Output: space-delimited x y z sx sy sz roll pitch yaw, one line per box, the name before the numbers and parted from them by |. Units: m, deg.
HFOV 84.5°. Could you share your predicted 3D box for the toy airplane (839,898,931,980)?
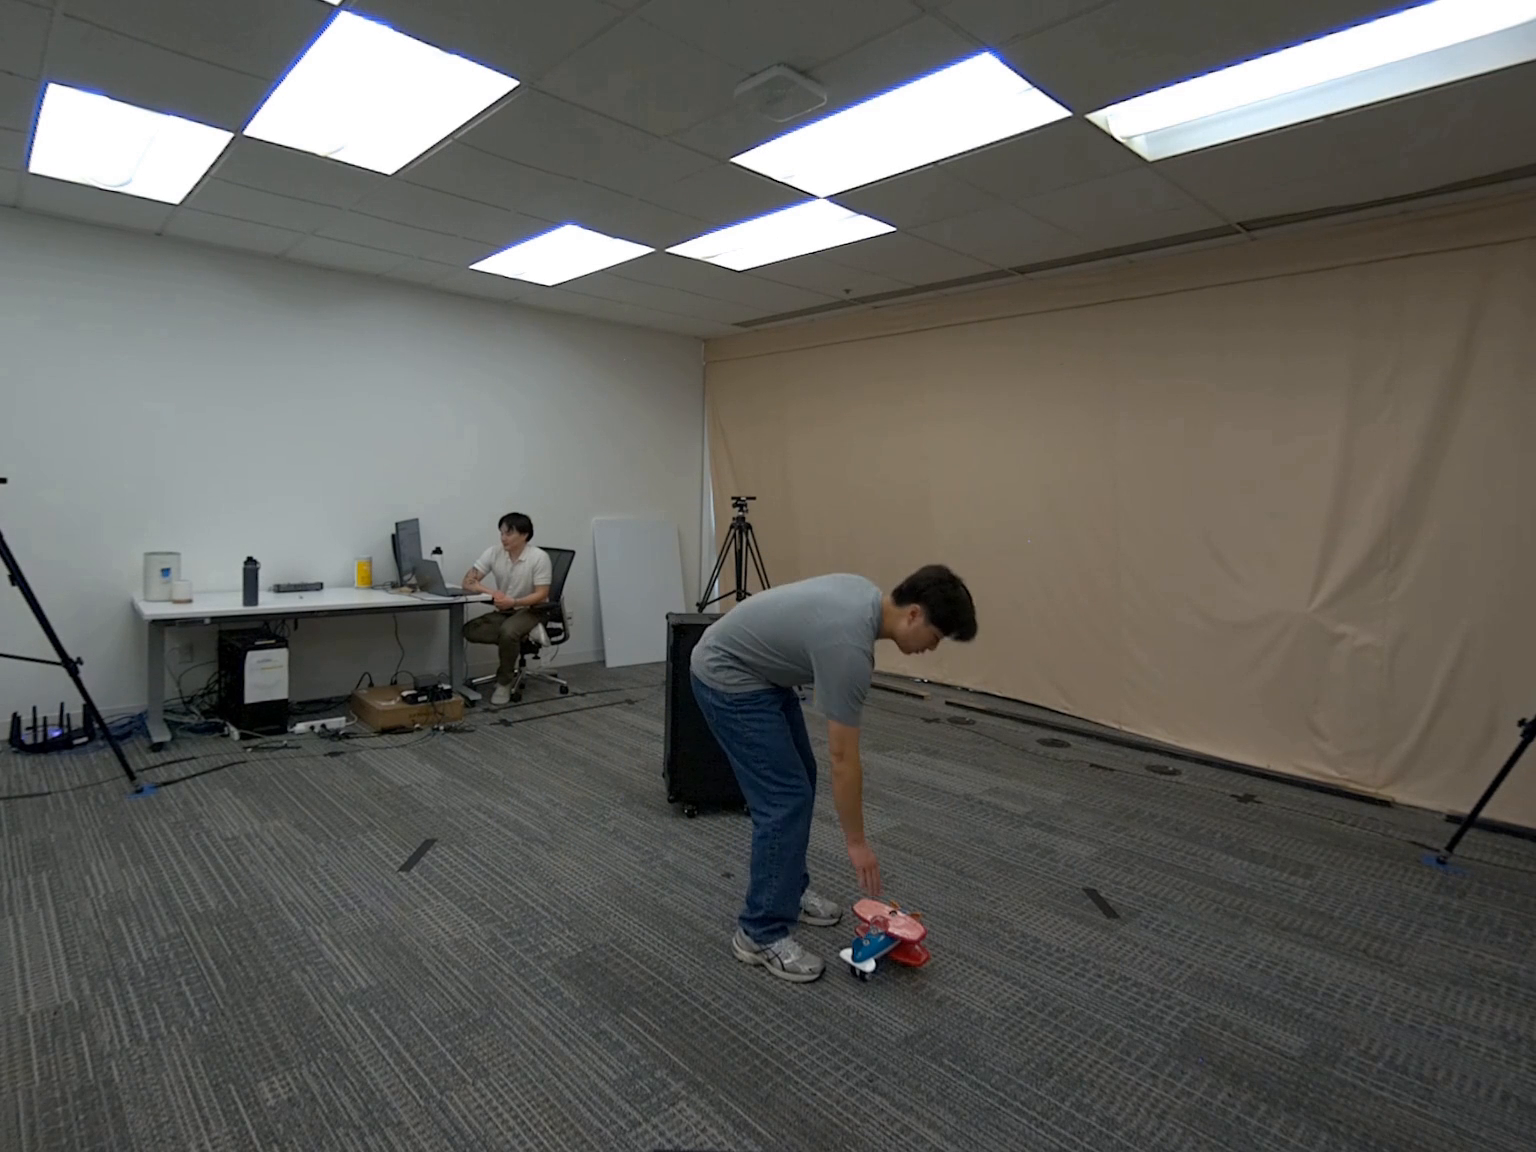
toy airplane | 0.356 1.105 2.499 0.255 0.156 0.256 3 4 19
